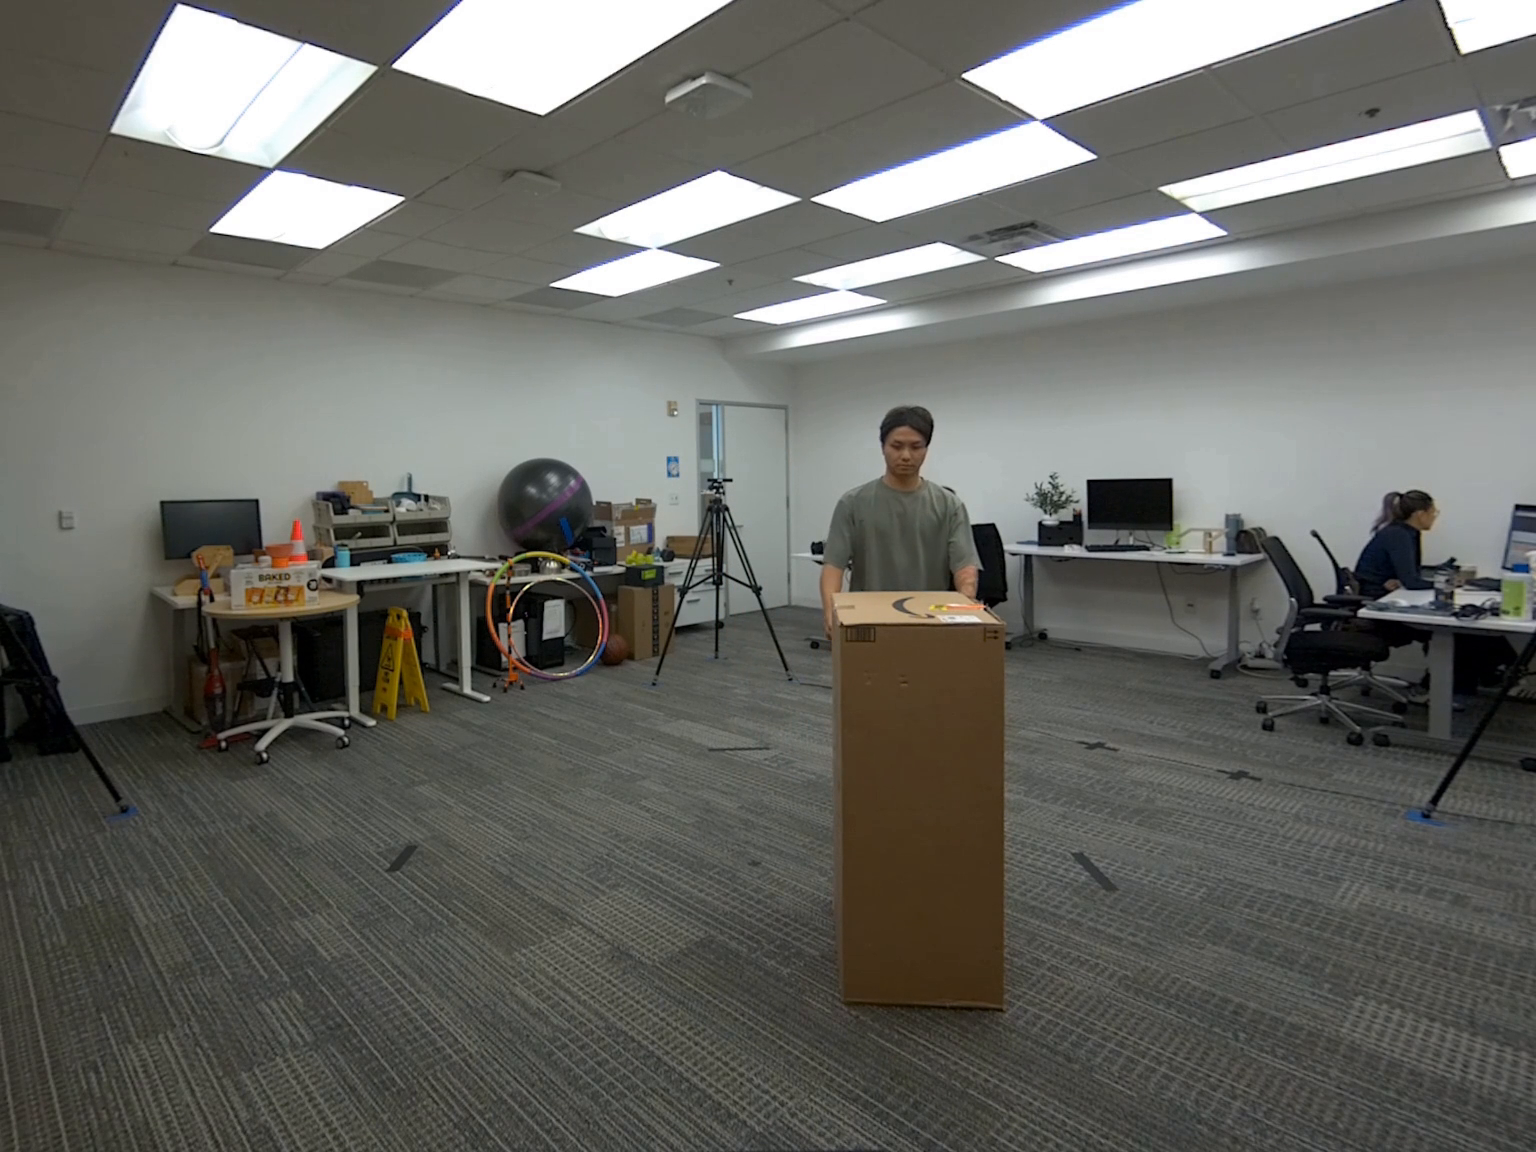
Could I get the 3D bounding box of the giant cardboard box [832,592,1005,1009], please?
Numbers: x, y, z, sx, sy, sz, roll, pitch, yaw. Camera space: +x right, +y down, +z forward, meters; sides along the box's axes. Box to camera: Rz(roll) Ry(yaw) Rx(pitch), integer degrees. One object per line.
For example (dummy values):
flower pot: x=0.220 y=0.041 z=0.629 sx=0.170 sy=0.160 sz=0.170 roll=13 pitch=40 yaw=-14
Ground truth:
giant cardboard box: x=0.415 y=0.598 z=2.493 sx=0.428 sy=1.022 sz=0.577 roll=-1 pitch=4 yaw=4
